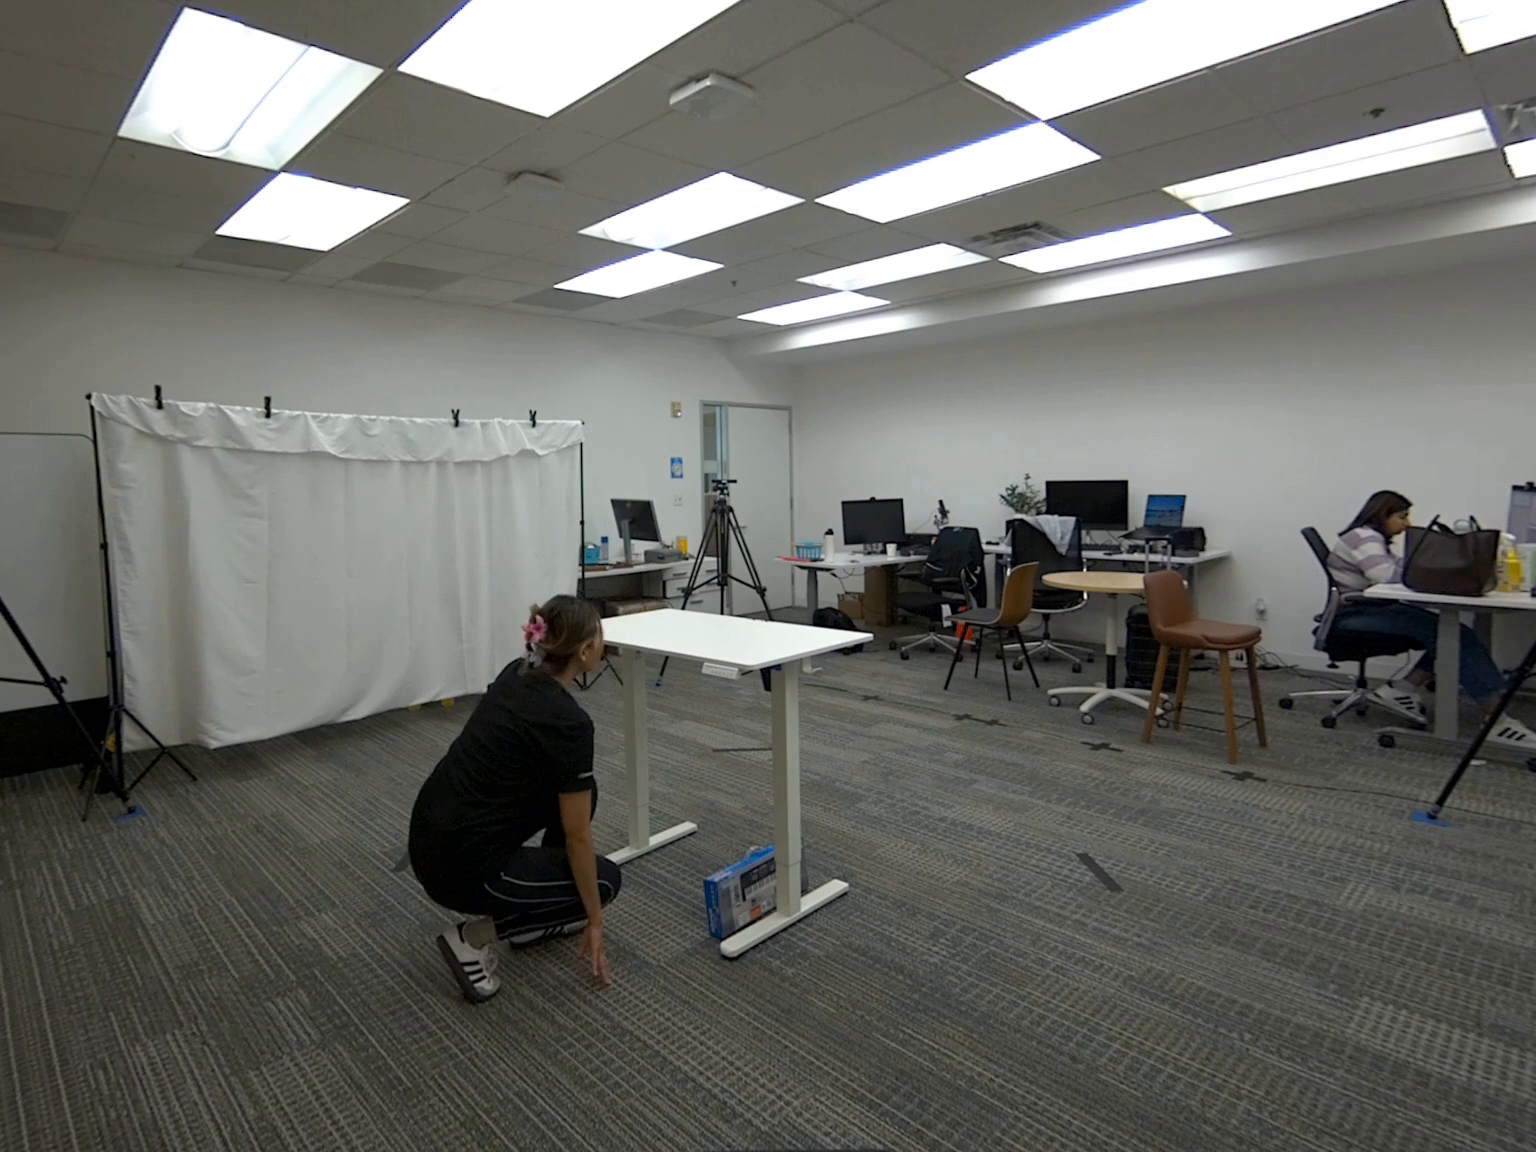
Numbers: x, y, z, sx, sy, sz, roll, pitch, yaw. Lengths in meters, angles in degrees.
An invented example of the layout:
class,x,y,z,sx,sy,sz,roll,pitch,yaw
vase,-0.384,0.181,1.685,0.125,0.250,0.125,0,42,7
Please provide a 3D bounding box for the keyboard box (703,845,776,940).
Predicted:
class,x,y,z,sx,sy,sz,roll,pitch,yaw
keyboard box,-0.021,0.999,2.769,0.060,0.176,0.426,-8,0,41
